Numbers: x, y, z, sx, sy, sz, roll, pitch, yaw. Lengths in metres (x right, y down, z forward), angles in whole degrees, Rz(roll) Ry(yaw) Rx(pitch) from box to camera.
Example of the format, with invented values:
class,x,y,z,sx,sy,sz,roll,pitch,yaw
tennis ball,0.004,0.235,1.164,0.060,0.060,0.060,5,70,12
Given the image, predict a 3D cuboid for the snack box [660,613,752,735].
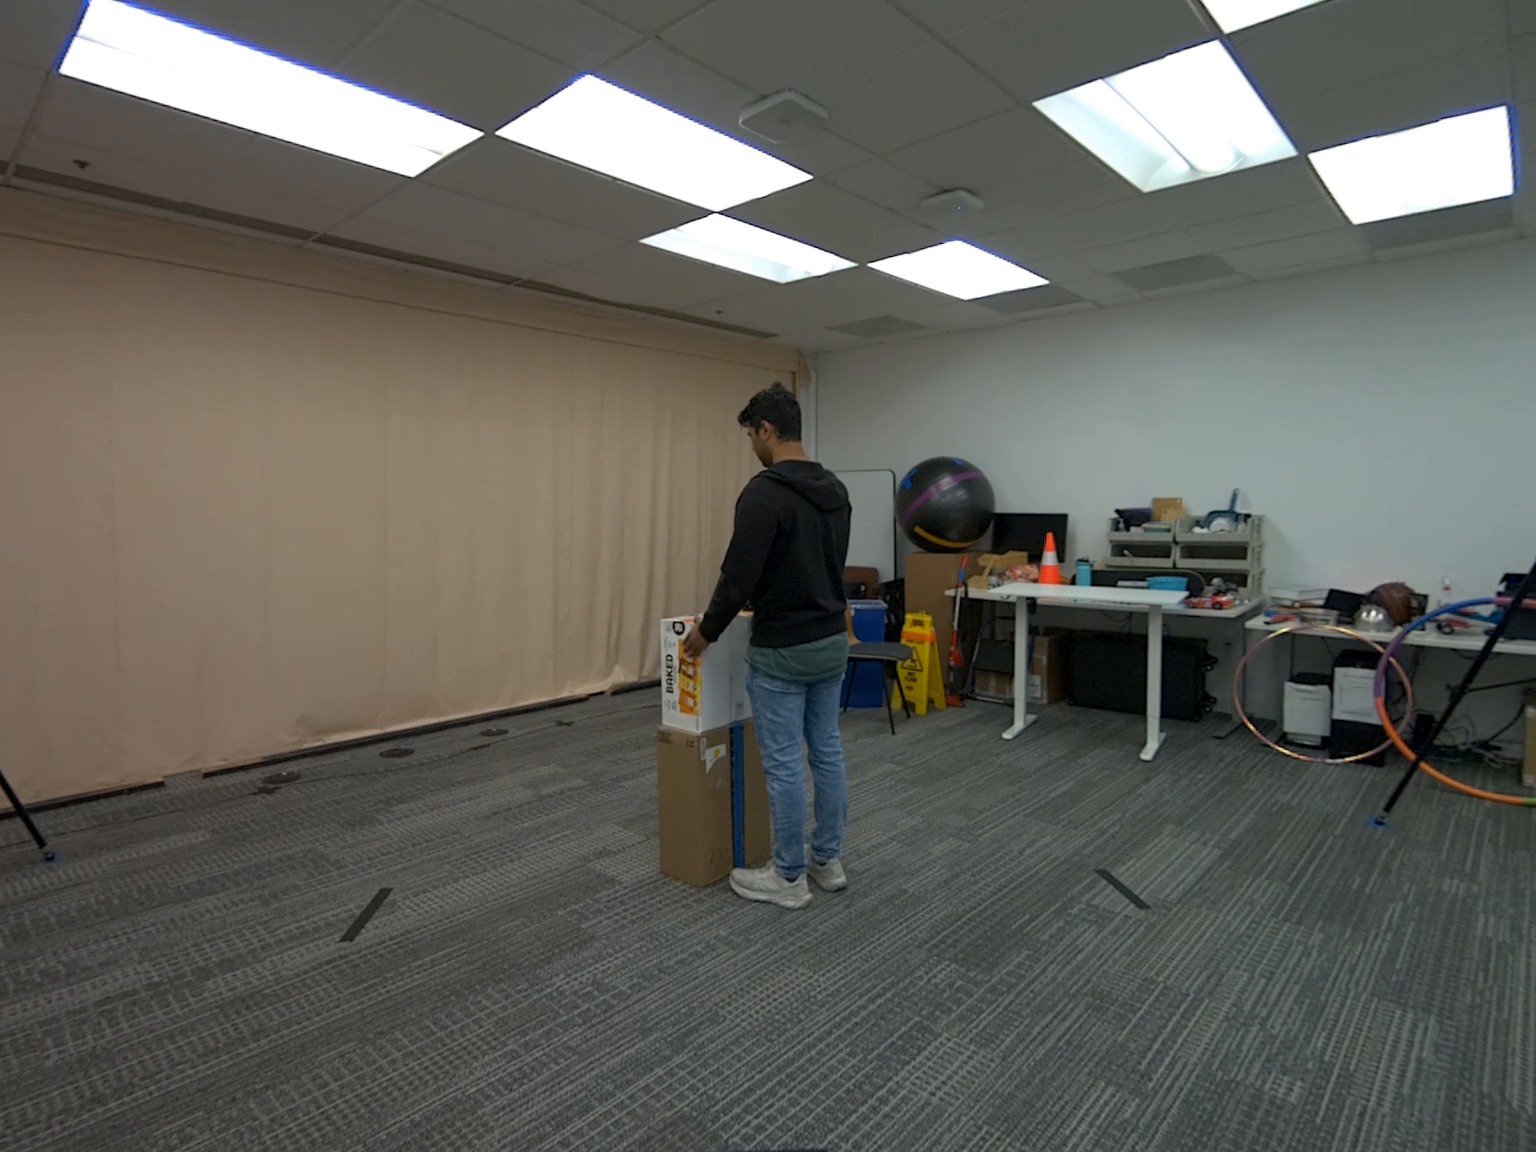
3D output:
class,x,y,z,sx,sy,sz,roll,pitch,yaw
snack box,-0.217,0.355,3.246,0.212,0.404,0.330,1,3,42
